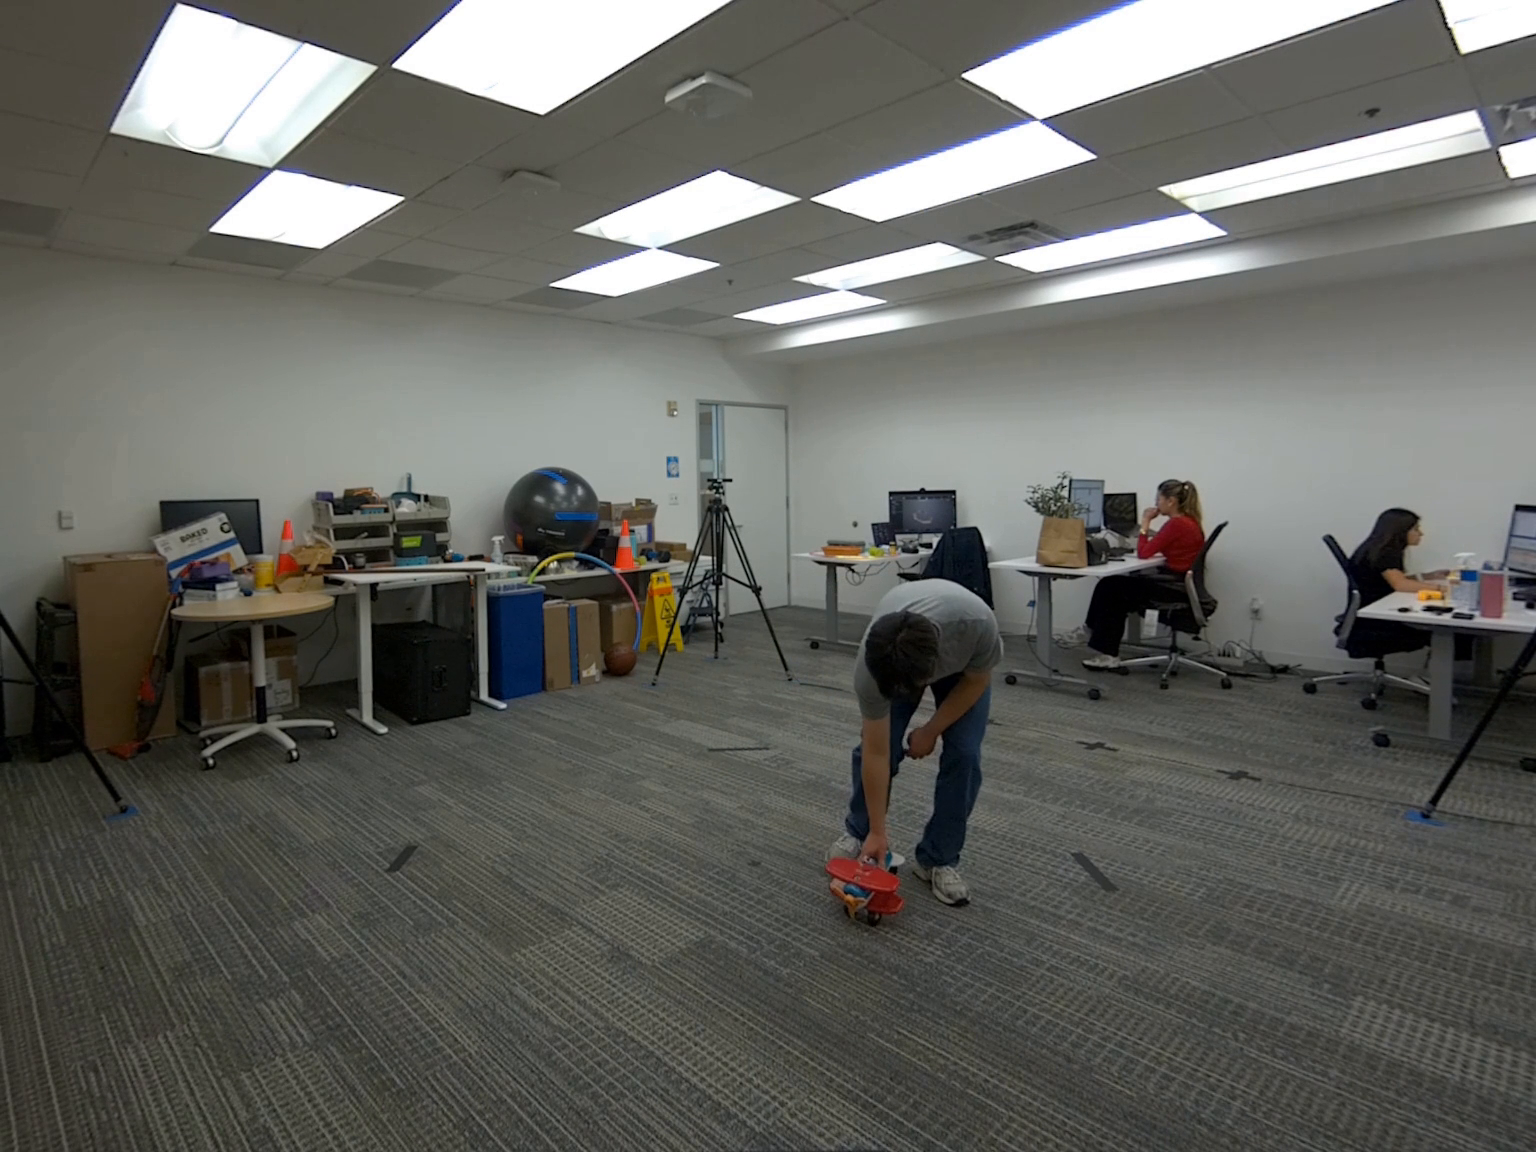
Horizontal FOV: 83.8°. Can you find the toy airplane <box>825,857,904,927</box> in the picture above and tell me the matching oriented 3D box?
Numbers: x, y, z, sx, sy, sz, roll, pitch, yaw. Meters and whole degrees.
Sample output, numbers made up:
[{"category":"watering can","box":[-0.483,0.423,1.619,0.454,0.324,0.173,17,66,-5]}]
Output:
[{"category":"toy airplane","box":[0.314,0.978,2.732,0.254,0.151,0.264,-14,32,16]}]
